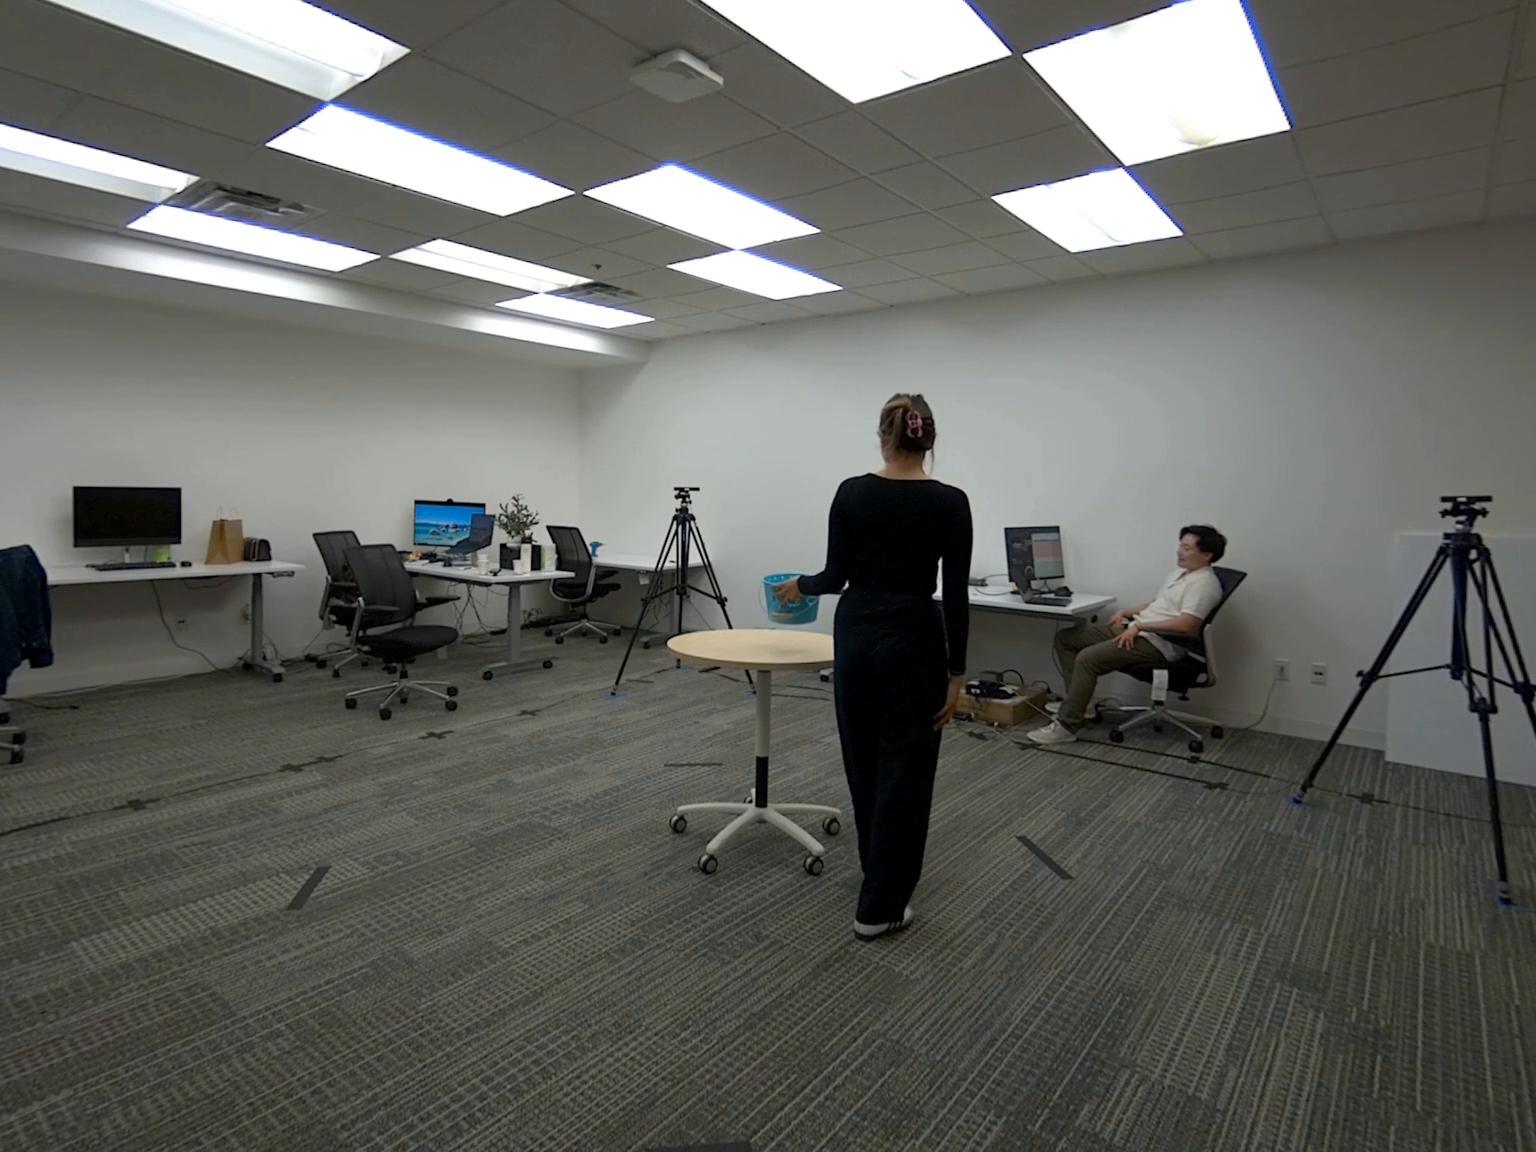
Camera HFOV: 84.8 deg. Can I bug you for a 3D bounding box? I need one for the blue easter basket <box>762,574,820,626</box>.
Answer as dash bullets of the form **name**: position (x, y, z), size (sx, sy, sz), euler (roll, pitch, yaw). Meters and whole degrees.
- **blue easter basket**: position (0.088, 0.086, 3.183), size (0.243, 0.154, 0.246), euler (0, 9, -2)
